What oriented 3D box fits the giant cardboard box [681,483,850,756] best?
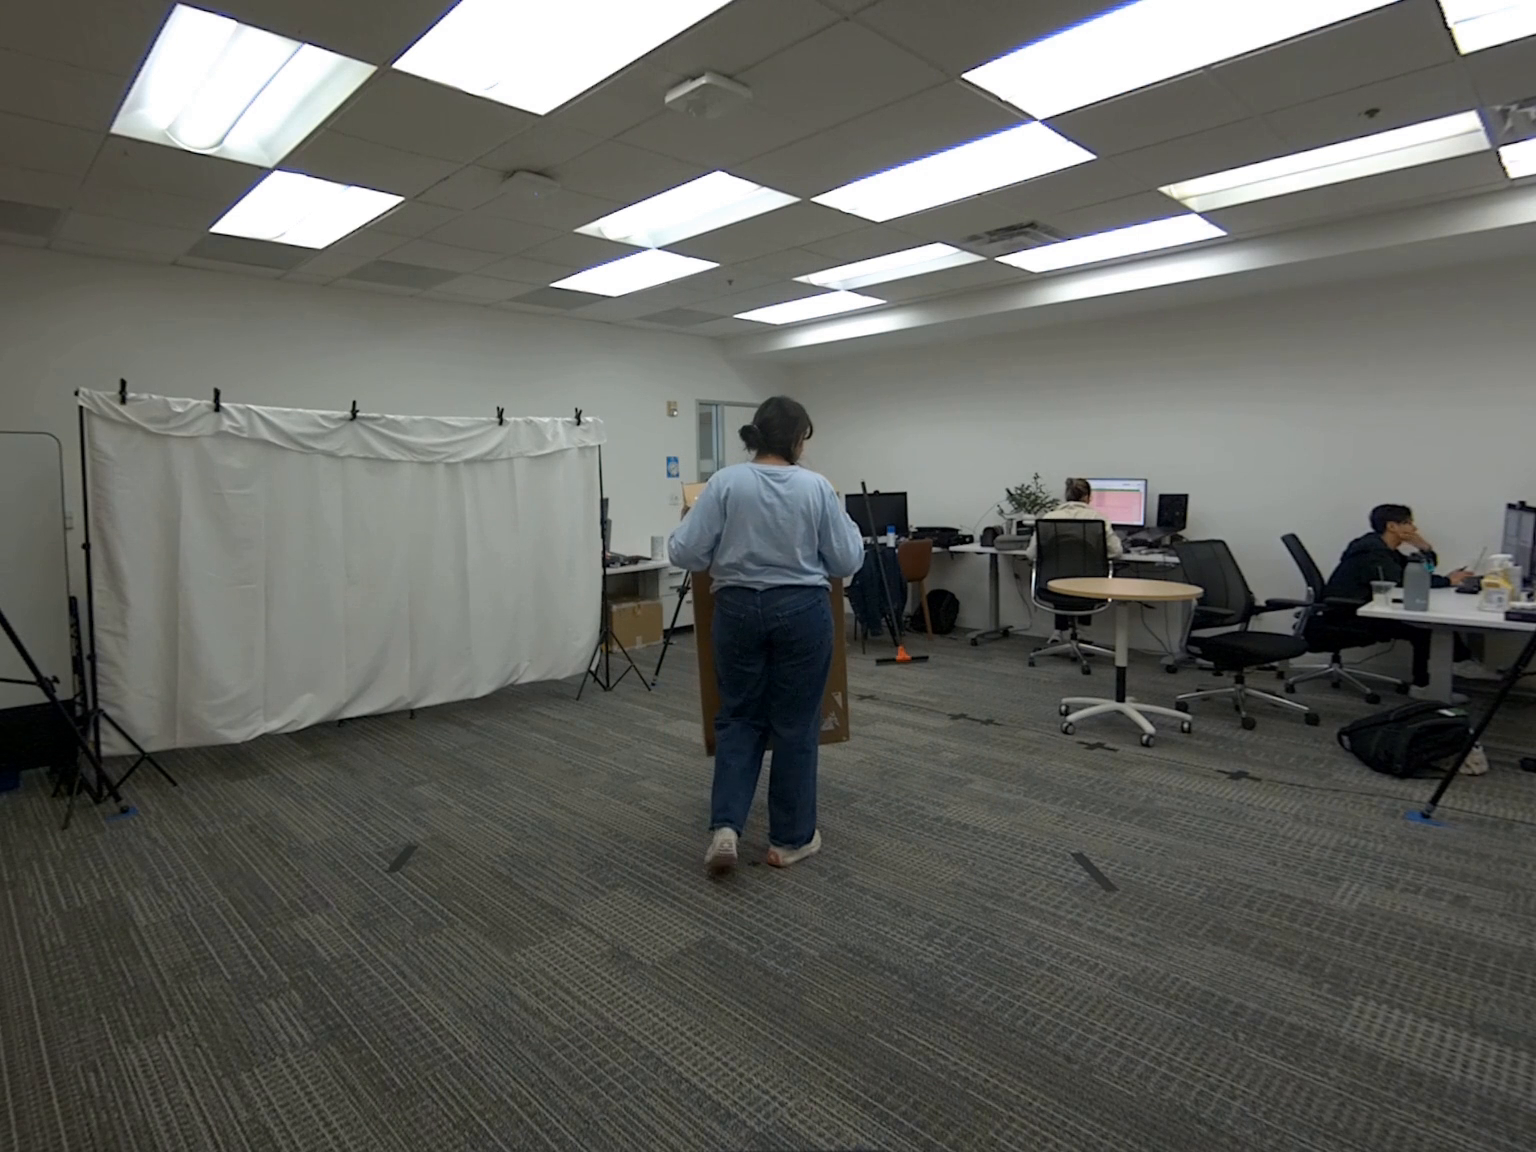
[{"bbox_3d":[-0.011,0.146,3.461,0.583,1.012,0.454,-5,15,-2],"label":"giant cardboard box"}]
